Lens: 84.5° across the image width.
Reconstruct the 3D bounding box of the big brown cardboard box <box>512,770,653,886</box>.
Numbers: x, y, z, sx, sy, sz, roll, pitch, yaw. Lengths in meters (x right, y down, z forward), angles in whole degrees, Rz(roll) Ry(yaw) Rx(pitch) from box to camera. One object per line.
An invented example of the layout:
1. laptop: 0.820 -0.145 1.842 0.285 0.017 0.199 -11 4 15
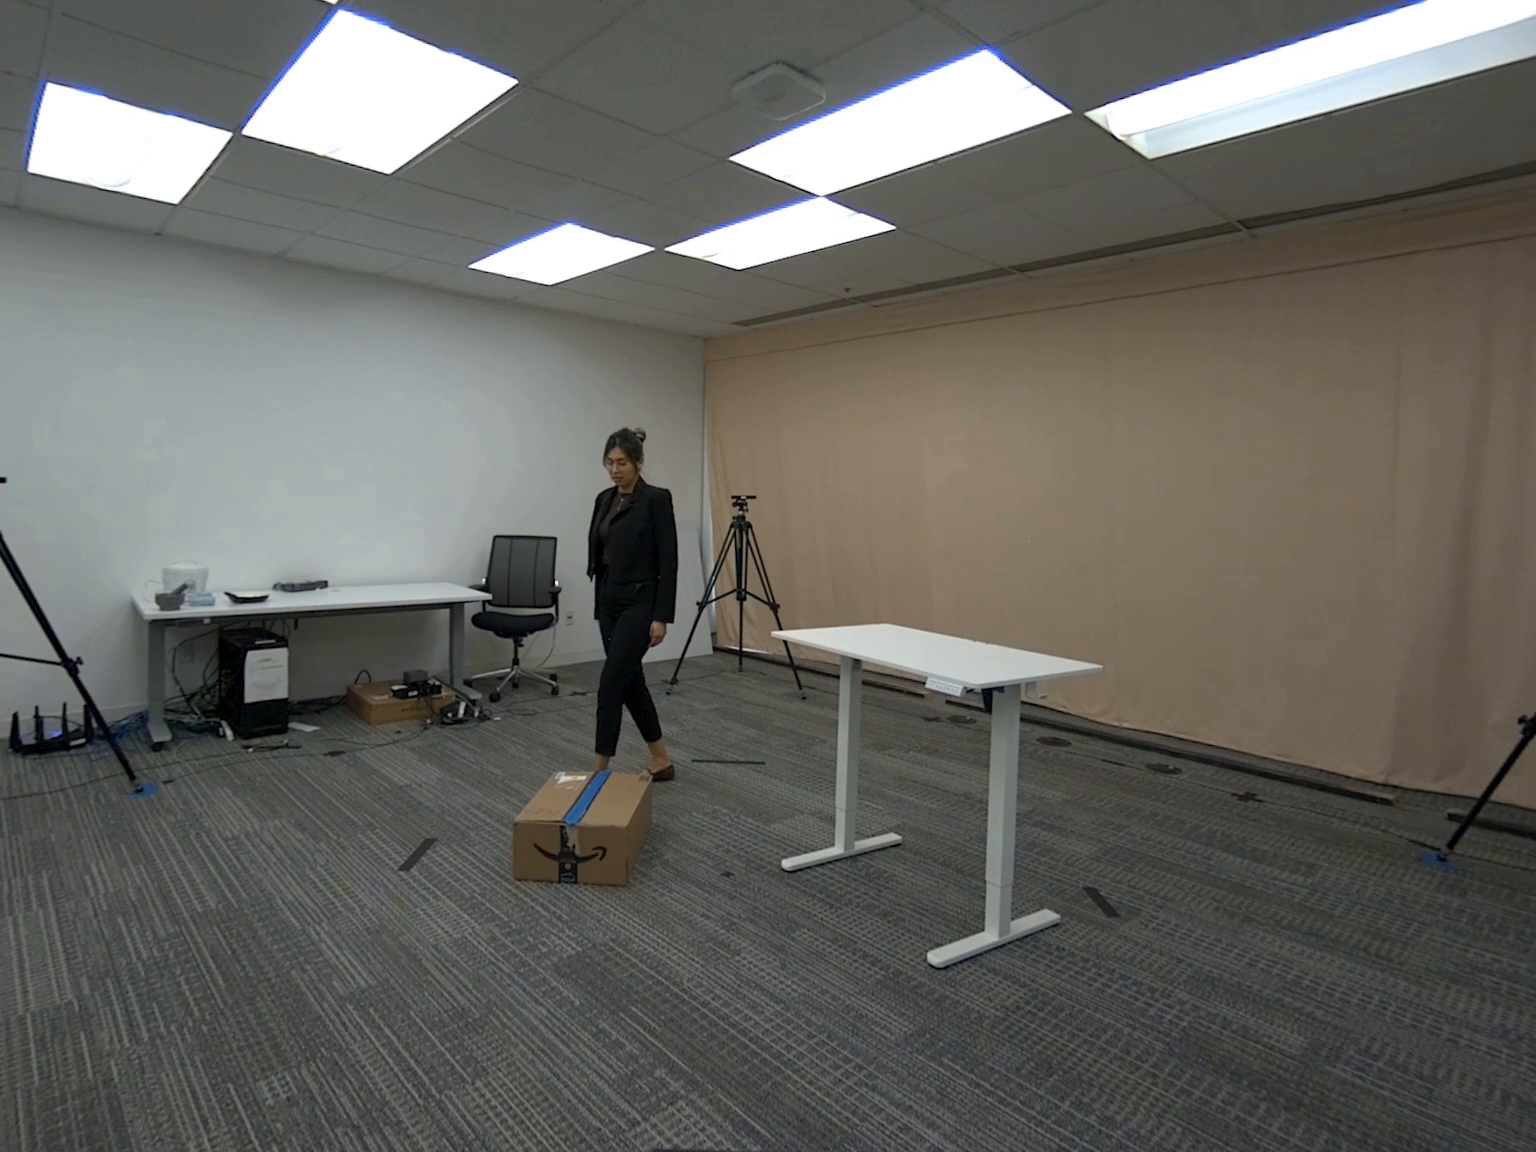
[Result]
1. big brown cardboard box: -0.709 0.963 3.277 0.418 0.232 0.590 1 5 1
